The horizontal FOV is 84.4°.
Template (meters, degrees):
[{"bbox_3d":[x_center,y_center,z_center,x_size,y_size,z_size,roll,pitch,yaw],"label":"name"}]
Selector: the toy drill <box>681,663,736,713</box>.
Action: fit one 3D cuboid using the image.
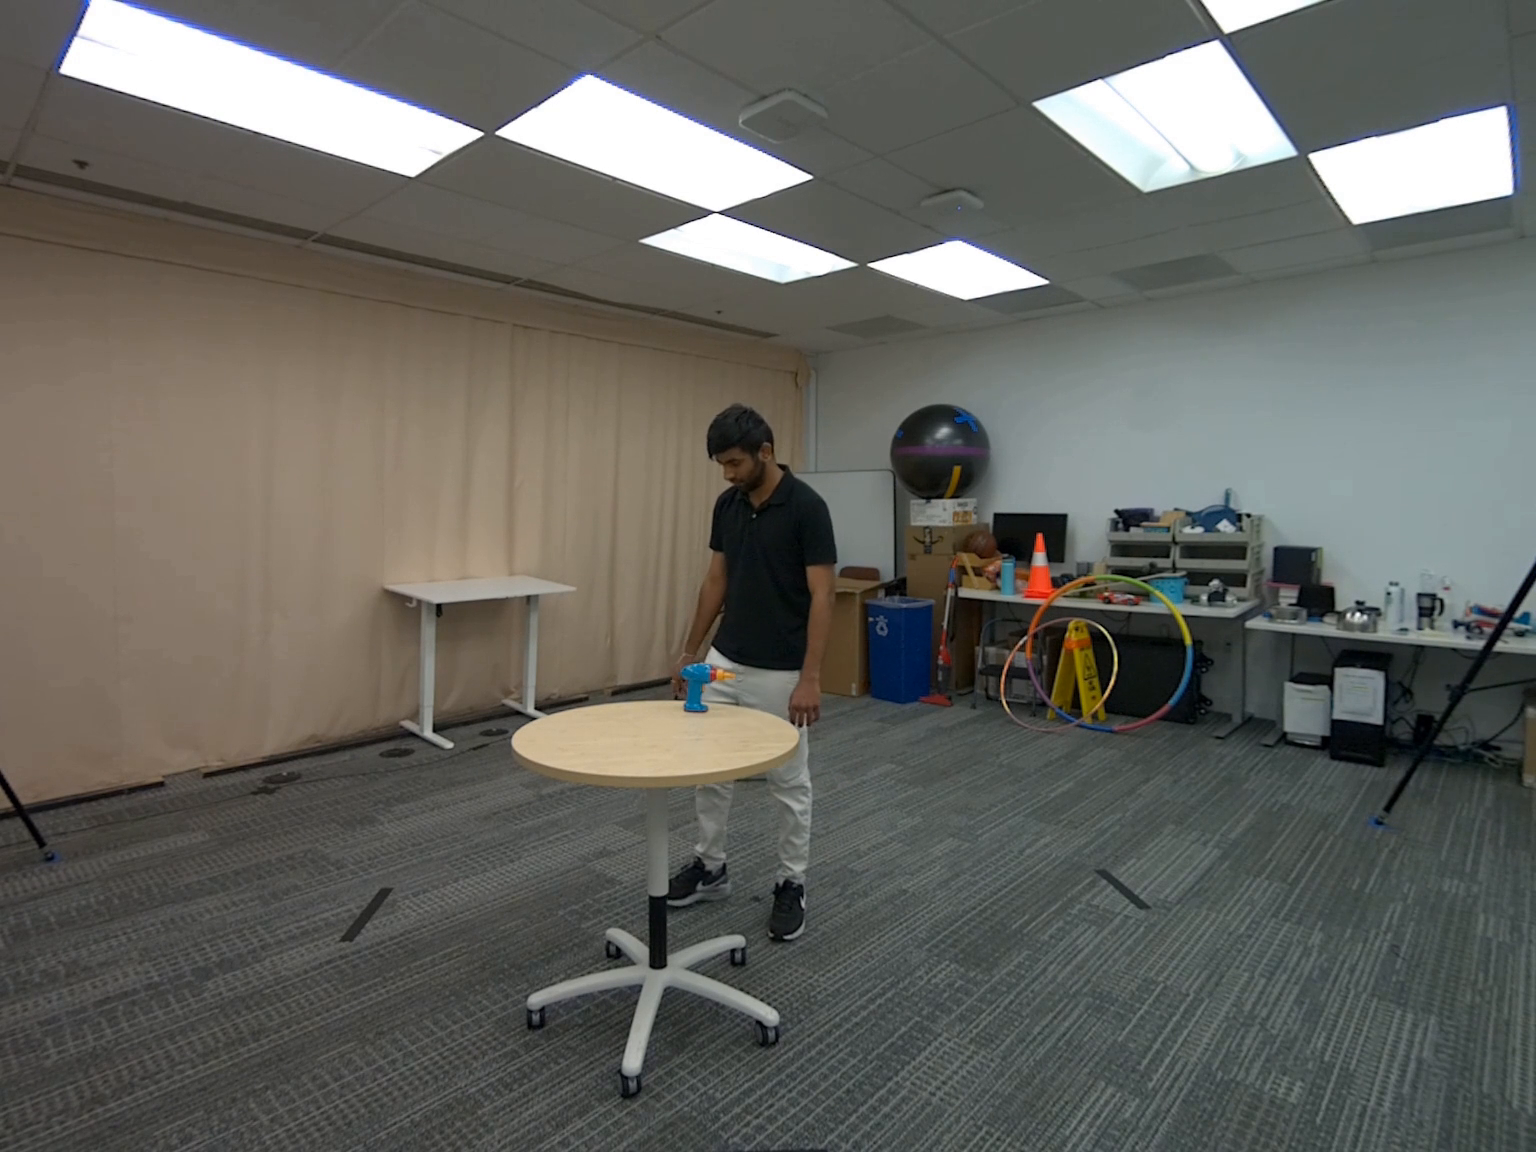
[{"bbox_3d":[-0.171,0.332,2.504,0.172,0.146,0.060,3,3,14],"label":"toy drill"}]
